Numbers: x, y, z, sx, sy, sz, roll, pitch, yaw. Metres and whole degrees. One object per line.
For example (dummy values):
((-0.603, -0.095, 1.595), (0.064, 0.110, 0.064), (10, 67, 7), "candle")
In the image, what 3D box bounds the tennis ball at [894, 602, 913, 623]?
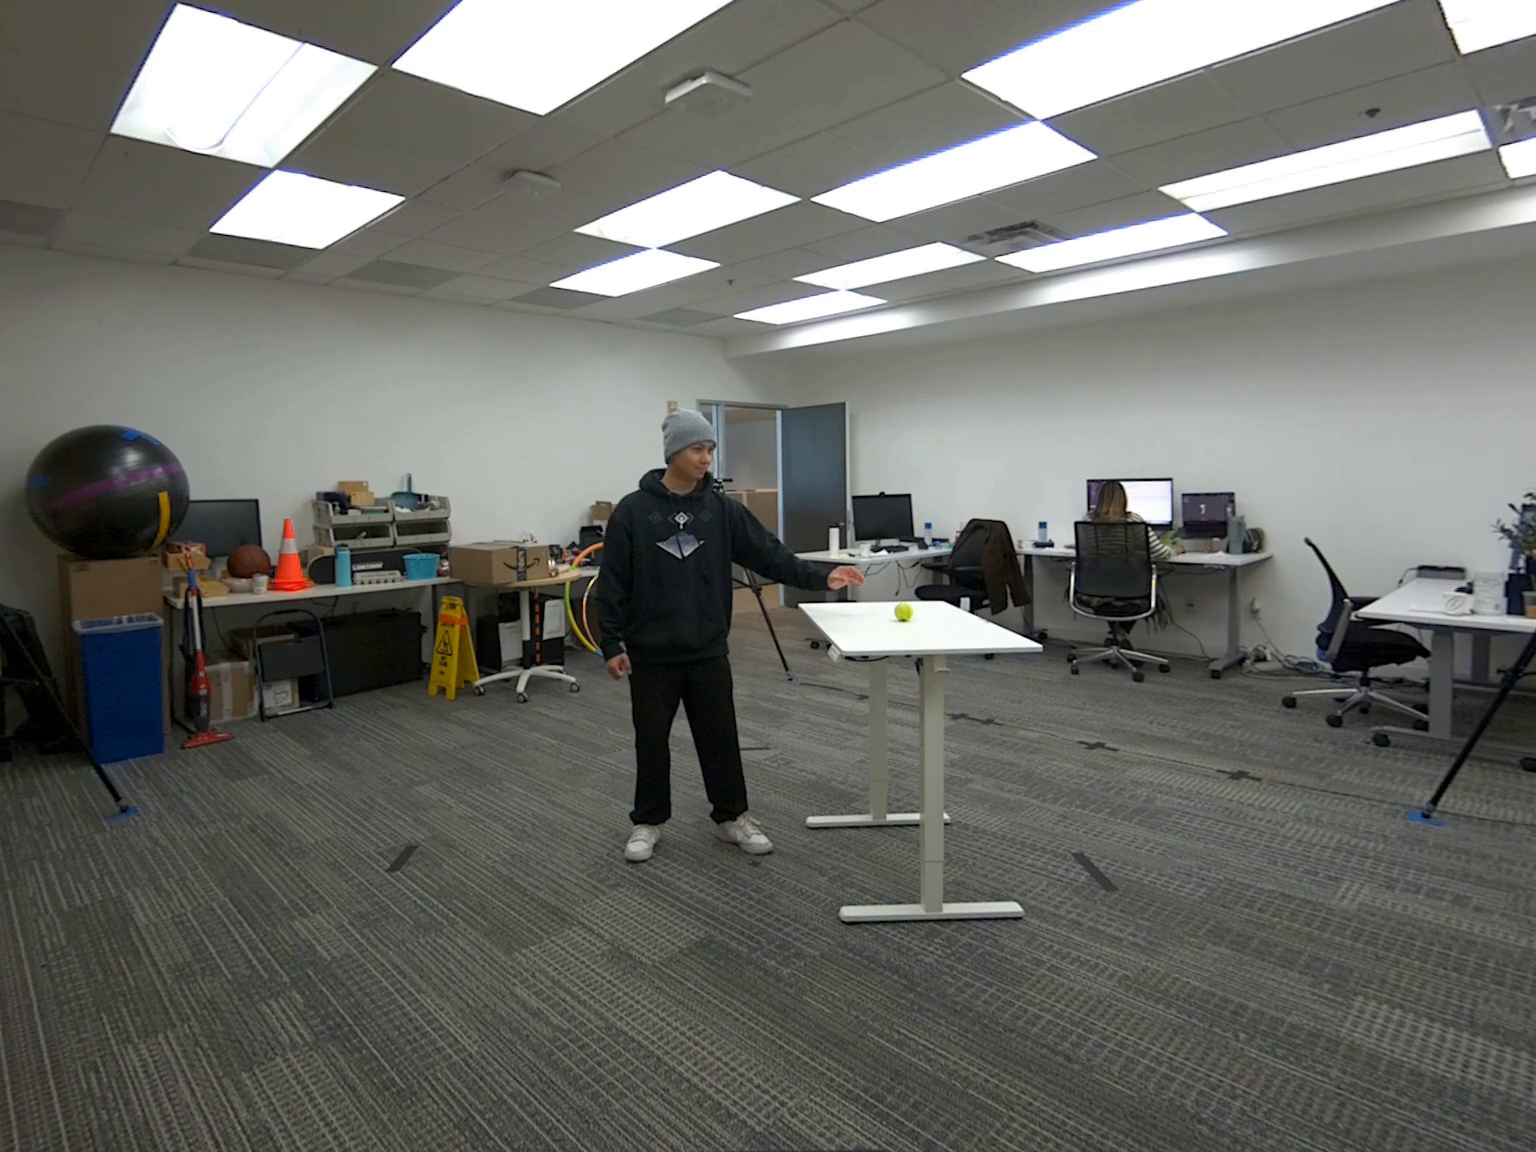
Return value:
((0.474, 0.128, 3.044), (0.066, 0.066, 0.067), (-1, 5, -2), "tennis ball")
